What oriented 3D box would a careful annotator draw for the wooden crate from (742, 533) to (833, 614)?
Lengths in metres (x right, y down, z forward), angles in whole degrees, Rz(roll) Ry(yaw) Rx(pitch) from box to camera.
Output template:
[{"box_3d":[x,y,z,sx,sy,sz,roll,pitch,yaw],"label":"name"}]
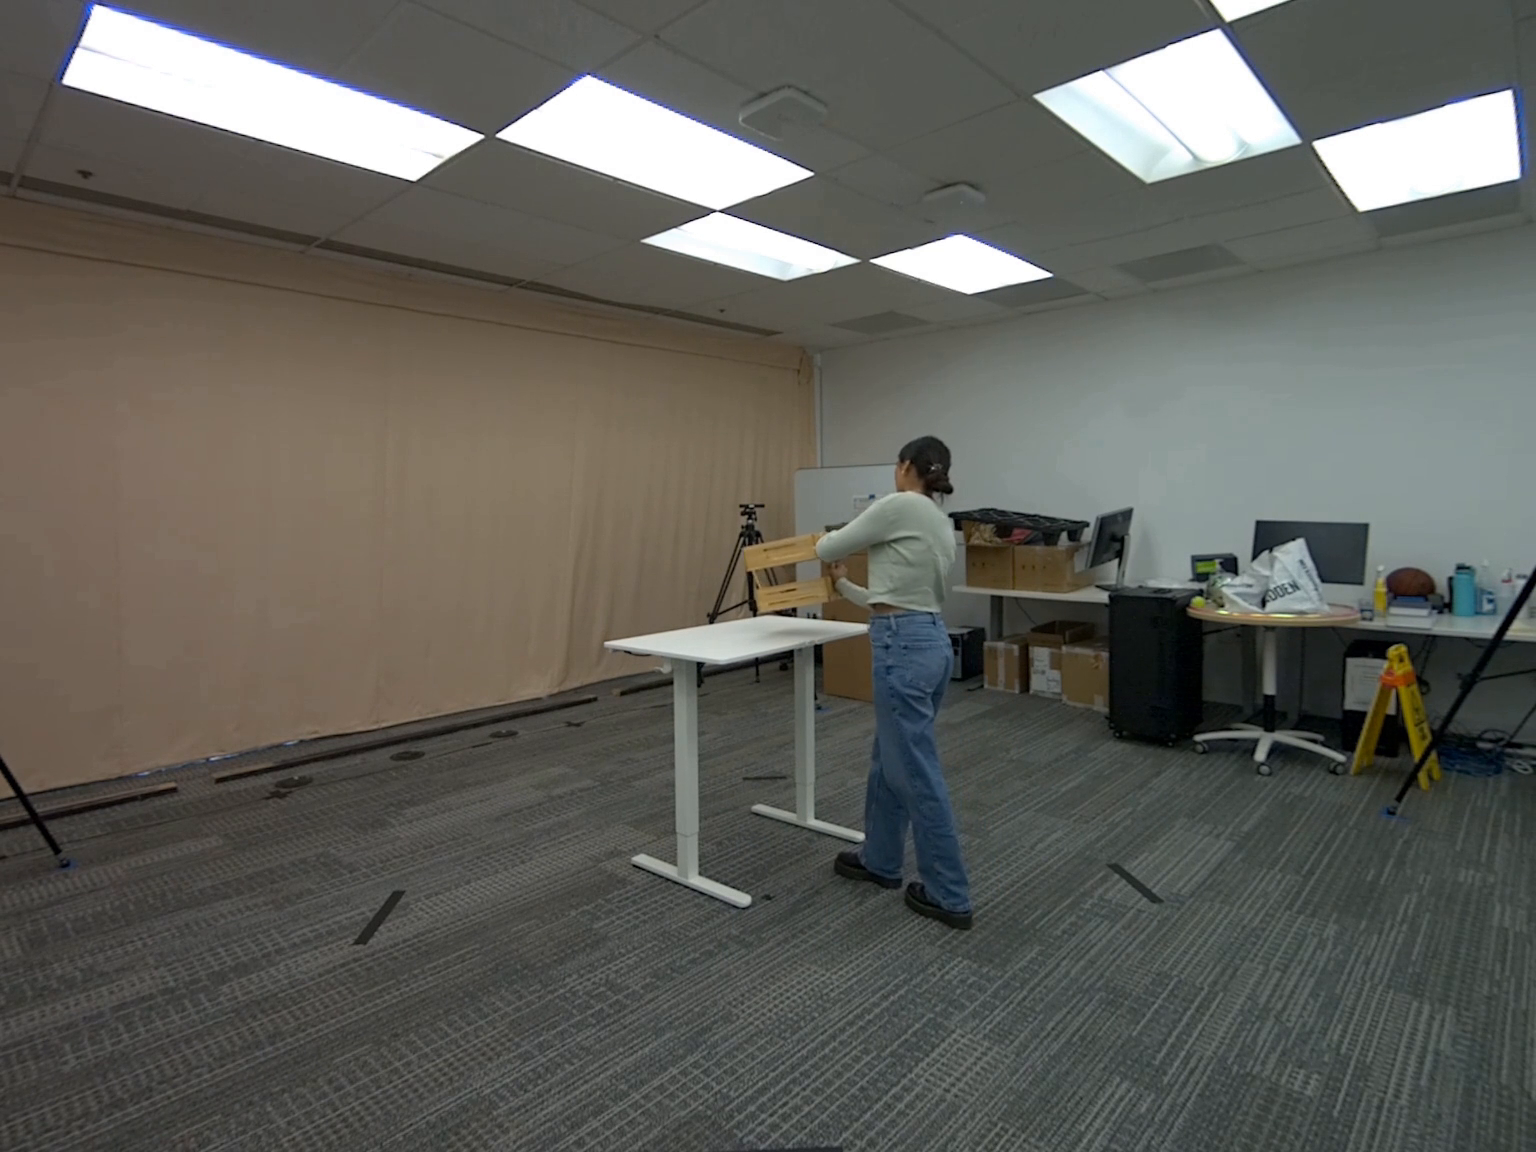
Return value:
[{"box_3d":[0.120,-0.012,3.293,0.331,0.274,0.295,-11,-4,23],"label":"wooden crate"}]
